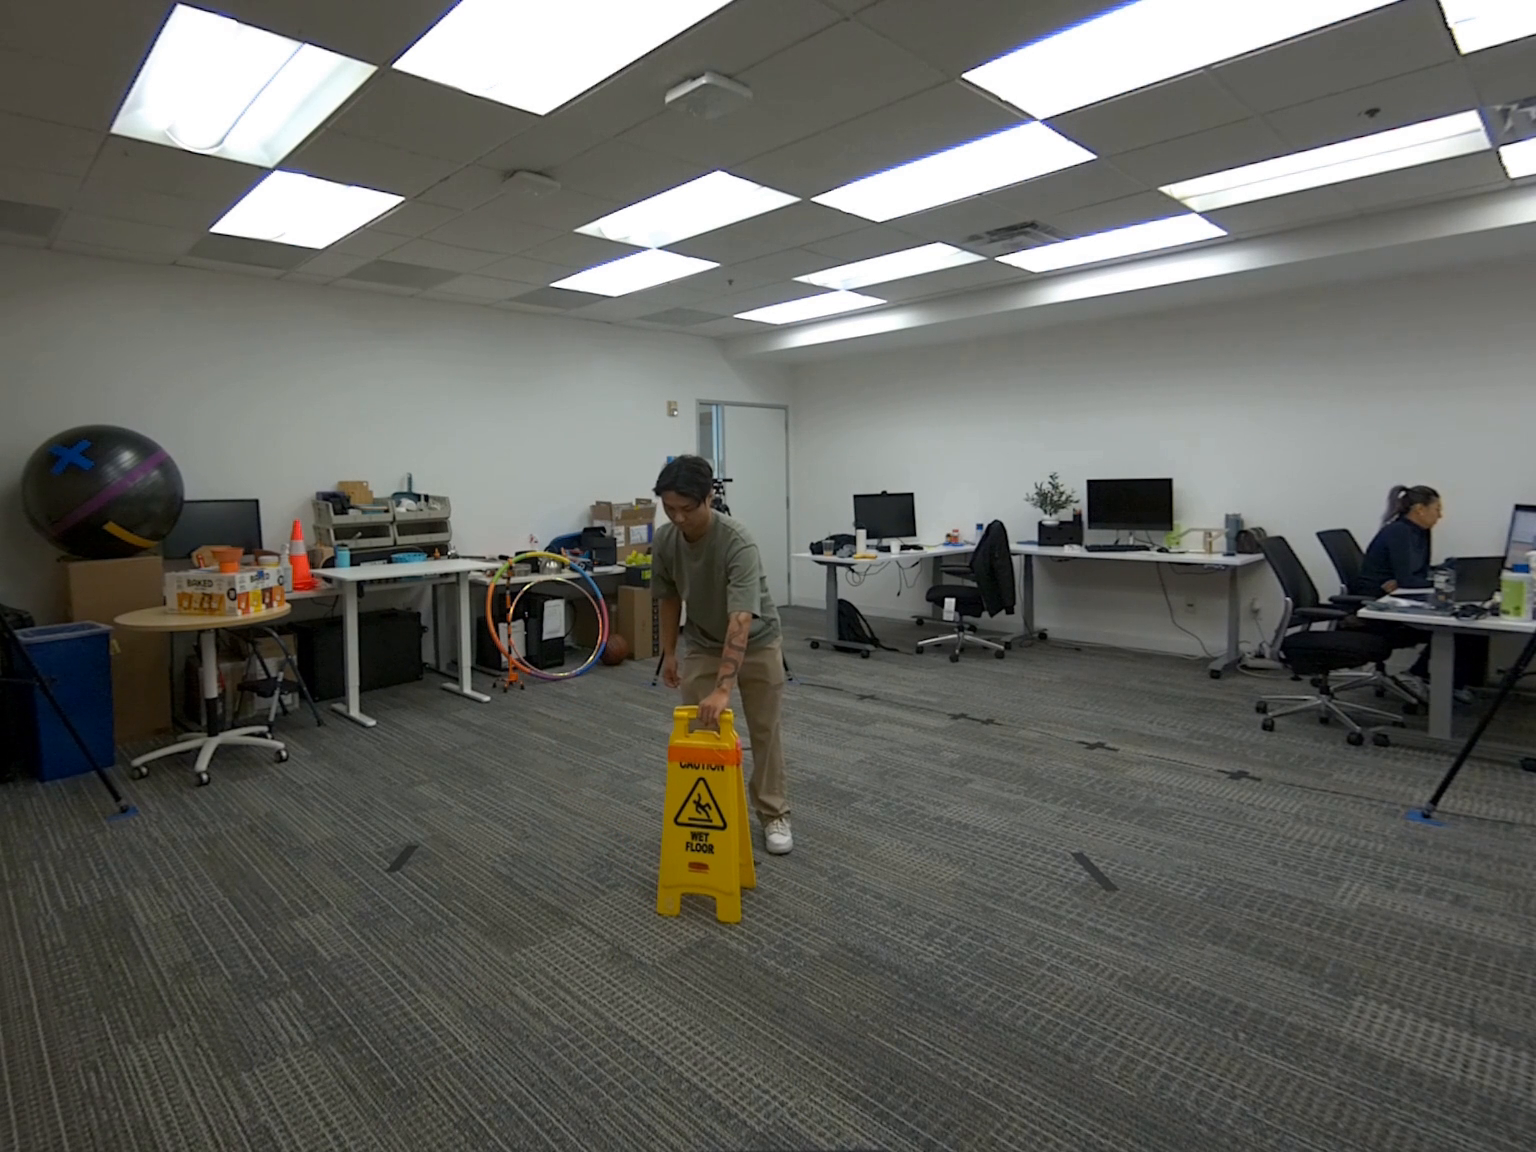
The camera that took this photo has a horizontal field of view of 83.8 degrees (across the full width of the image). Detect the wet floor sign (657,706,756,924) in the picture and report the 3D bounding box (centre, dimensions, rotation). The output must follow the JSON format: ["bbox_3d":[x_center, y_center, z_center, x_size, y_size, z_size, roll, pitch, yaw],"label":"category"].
[{"bbox_3d":[-0.202,0.766,2.812,0.286,0.643,0.287,0,6,13],"label":"wet floor sign"}]
